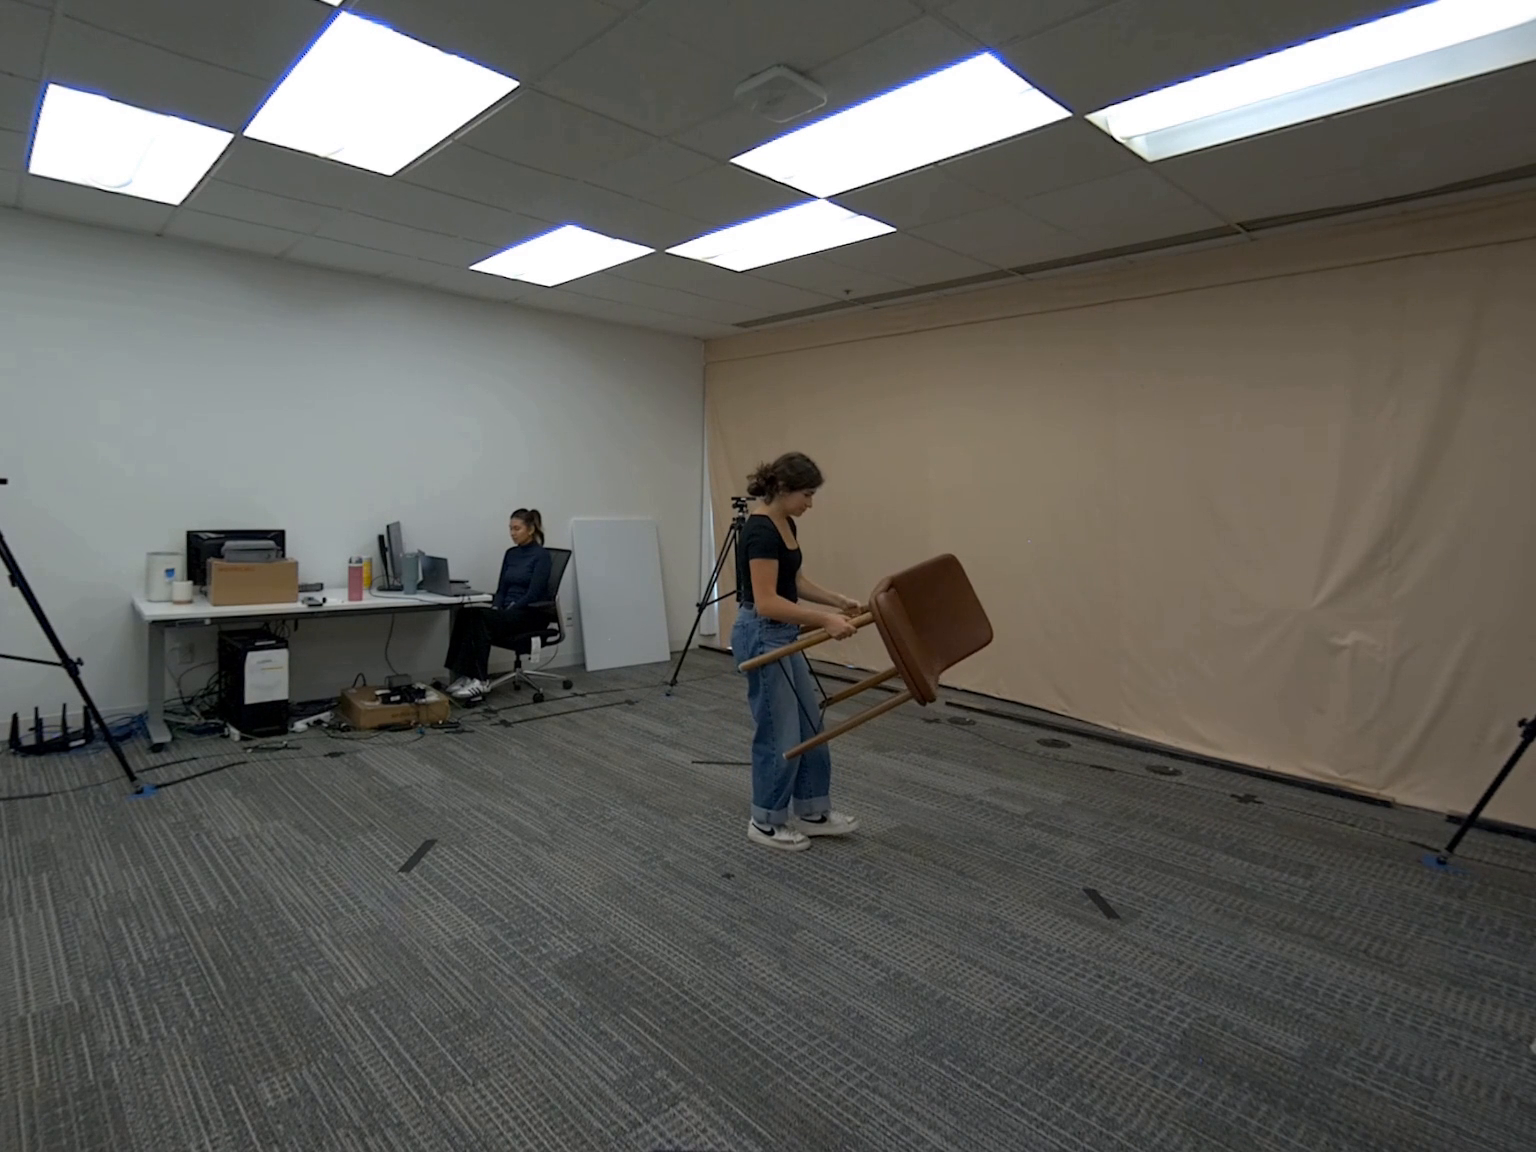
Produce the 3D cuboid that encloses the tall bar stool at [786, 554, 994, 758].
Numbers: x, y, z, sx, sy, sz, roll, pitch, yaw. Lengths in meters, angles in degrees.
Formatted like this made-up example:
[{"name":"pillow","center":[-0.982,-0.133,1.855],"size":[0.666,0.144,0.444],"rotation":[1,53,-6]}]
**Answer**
[{"name":"tall bar stool","center":[0.399,0.298,3.281],"size":[0.895,0.455,0.466],"rotation":[-26,4,14]}]
